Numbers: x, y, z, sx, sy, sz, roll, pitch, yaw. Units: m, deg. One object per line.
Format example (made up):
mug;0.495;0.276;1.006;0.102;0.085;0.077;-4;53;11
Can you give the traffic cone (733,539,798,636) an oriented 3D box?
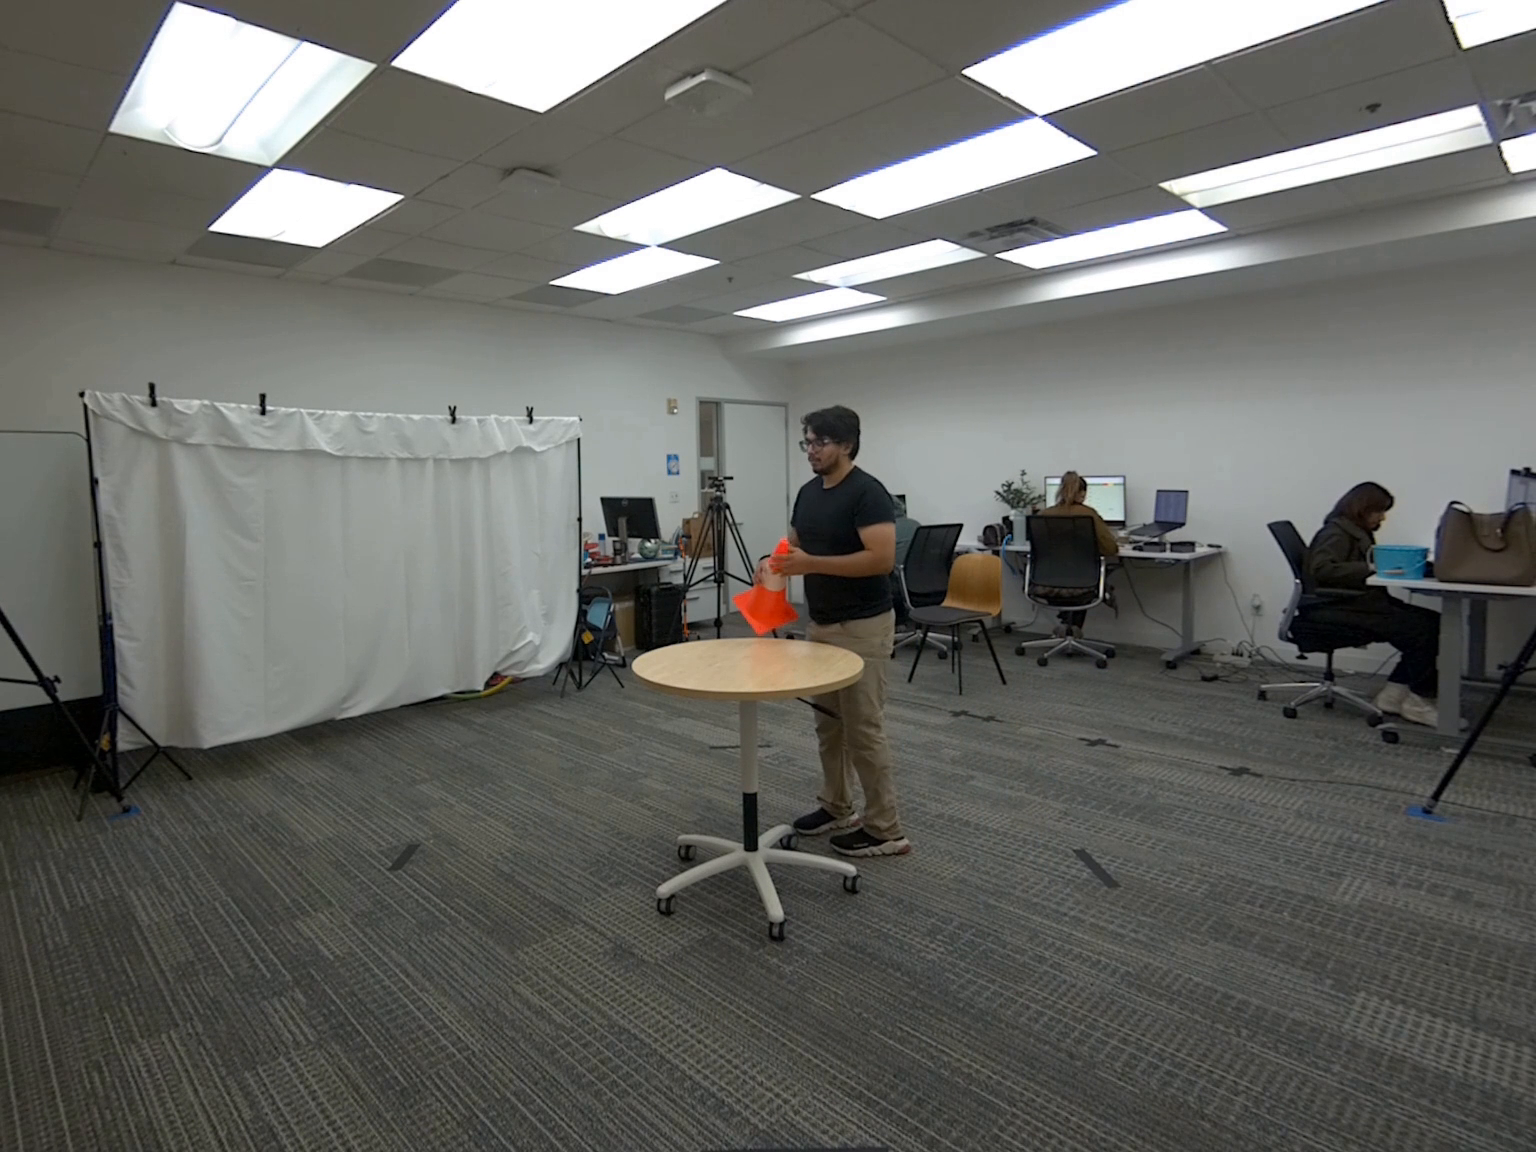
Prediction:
traffic cone;0.036;0.000;3.181;0.202;0.375;0.211;-22;53;-27
